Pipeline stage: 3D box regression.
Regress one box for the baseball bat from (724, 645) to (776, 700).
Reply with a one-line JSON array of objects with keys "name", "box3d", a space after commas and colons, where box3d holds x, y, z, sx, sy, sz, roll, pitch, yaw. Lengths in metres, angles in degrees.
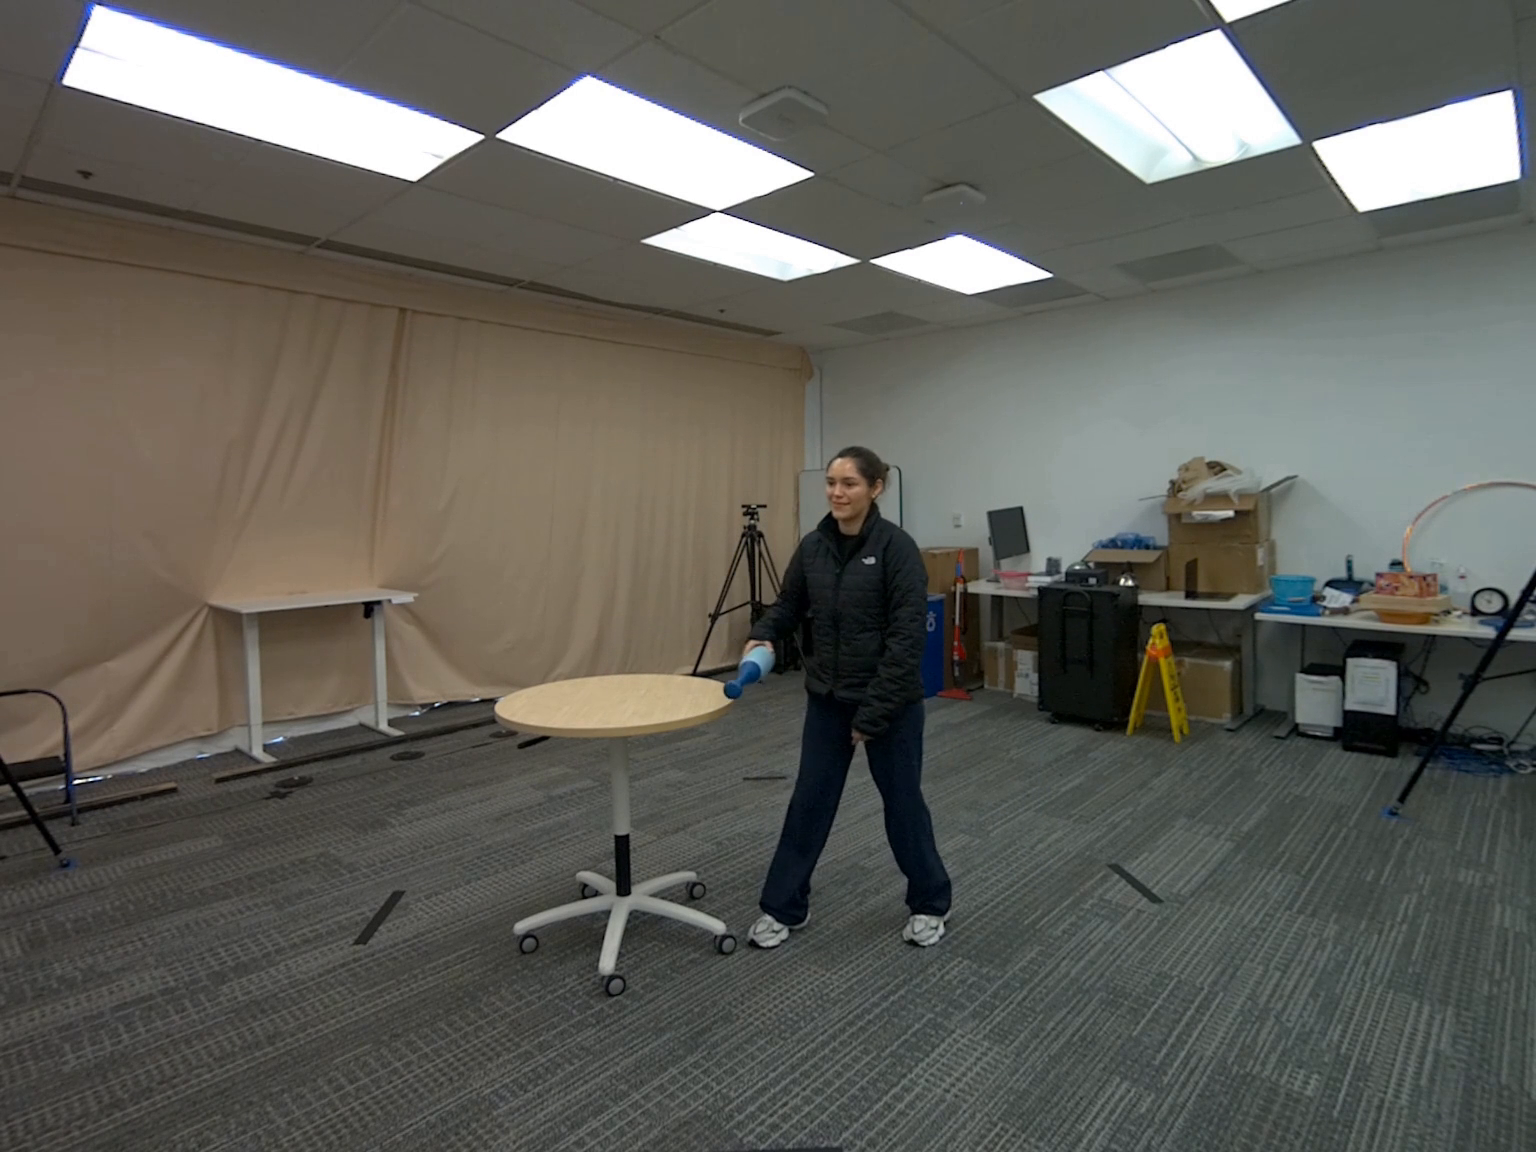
[{"name": "baseball bat", "box3d": [-0.047, 0.305, 2.479, 0.089, 0.089, 0.541, -1, 5, 3]}]
